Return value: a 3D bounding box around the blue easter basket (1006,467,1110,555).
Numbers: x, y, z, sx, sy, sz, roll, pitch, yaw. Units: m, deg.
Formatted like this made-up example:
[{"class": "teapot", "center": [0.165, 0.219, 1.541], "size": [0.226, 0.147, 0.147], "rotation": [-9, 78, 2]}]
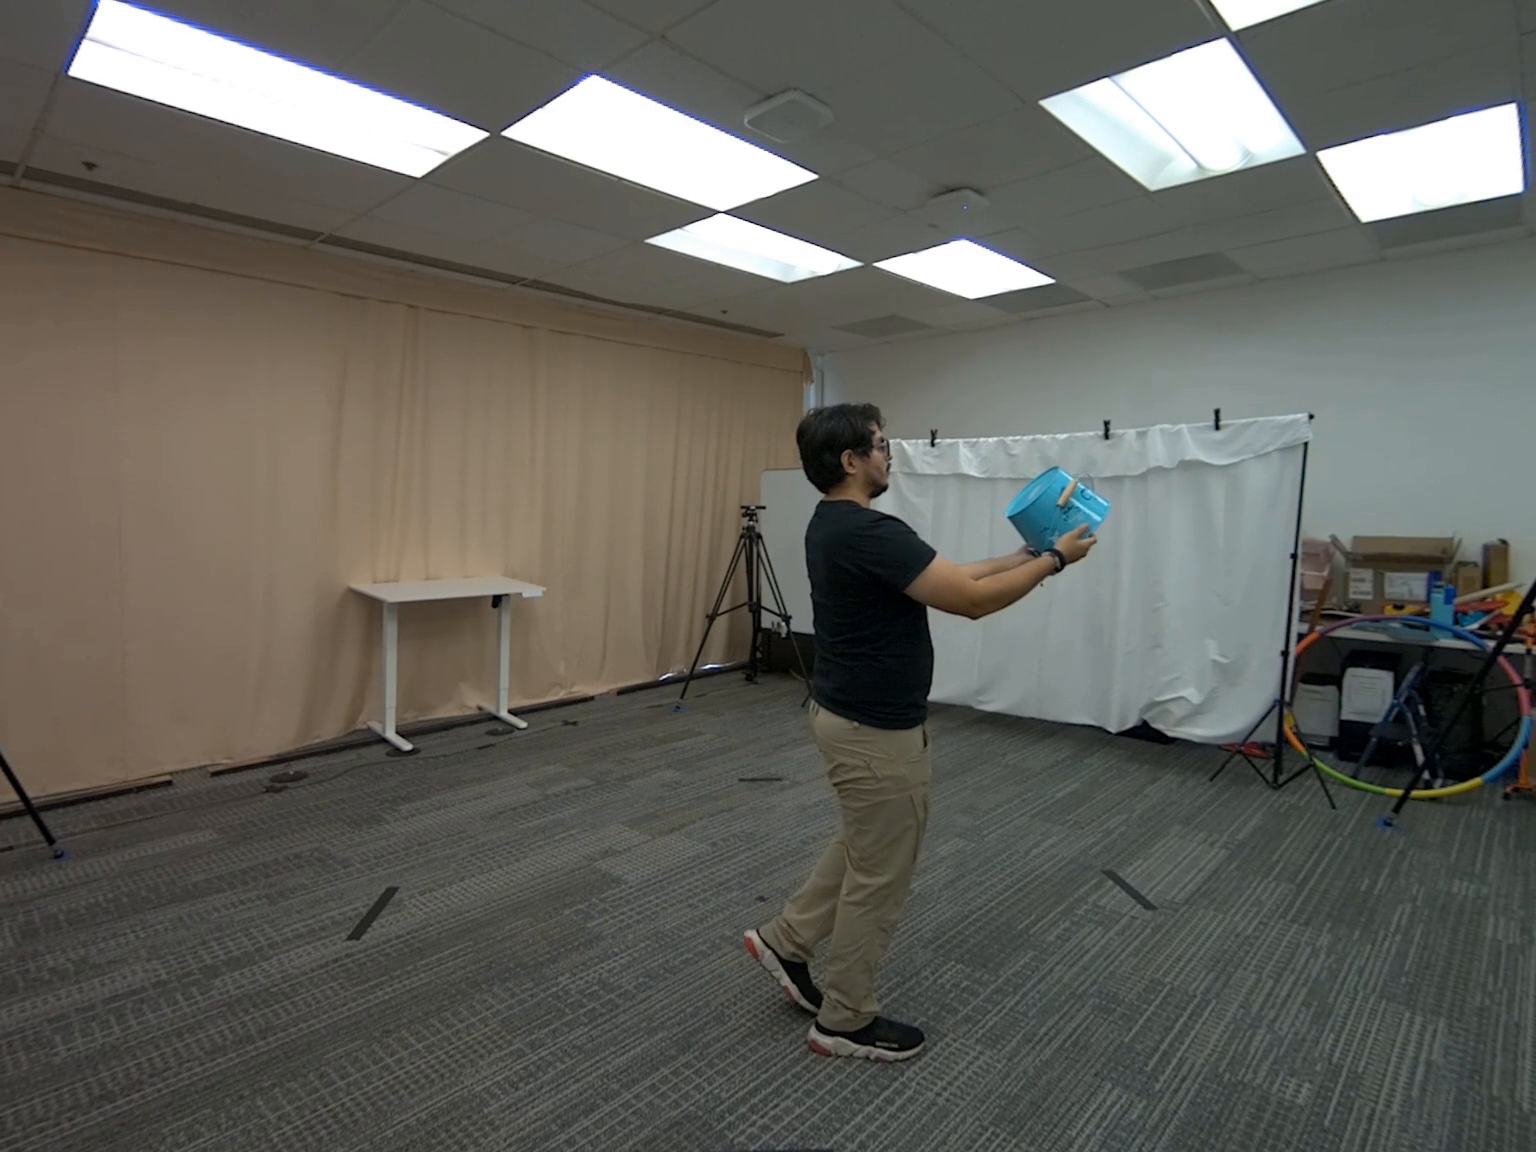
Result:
[{"class": "blue easter basket", "center": [0.749, -0.171, 2.179], "size": [0.155, 0.243, 0.244], "rotation": [44, -1, -3]}]
